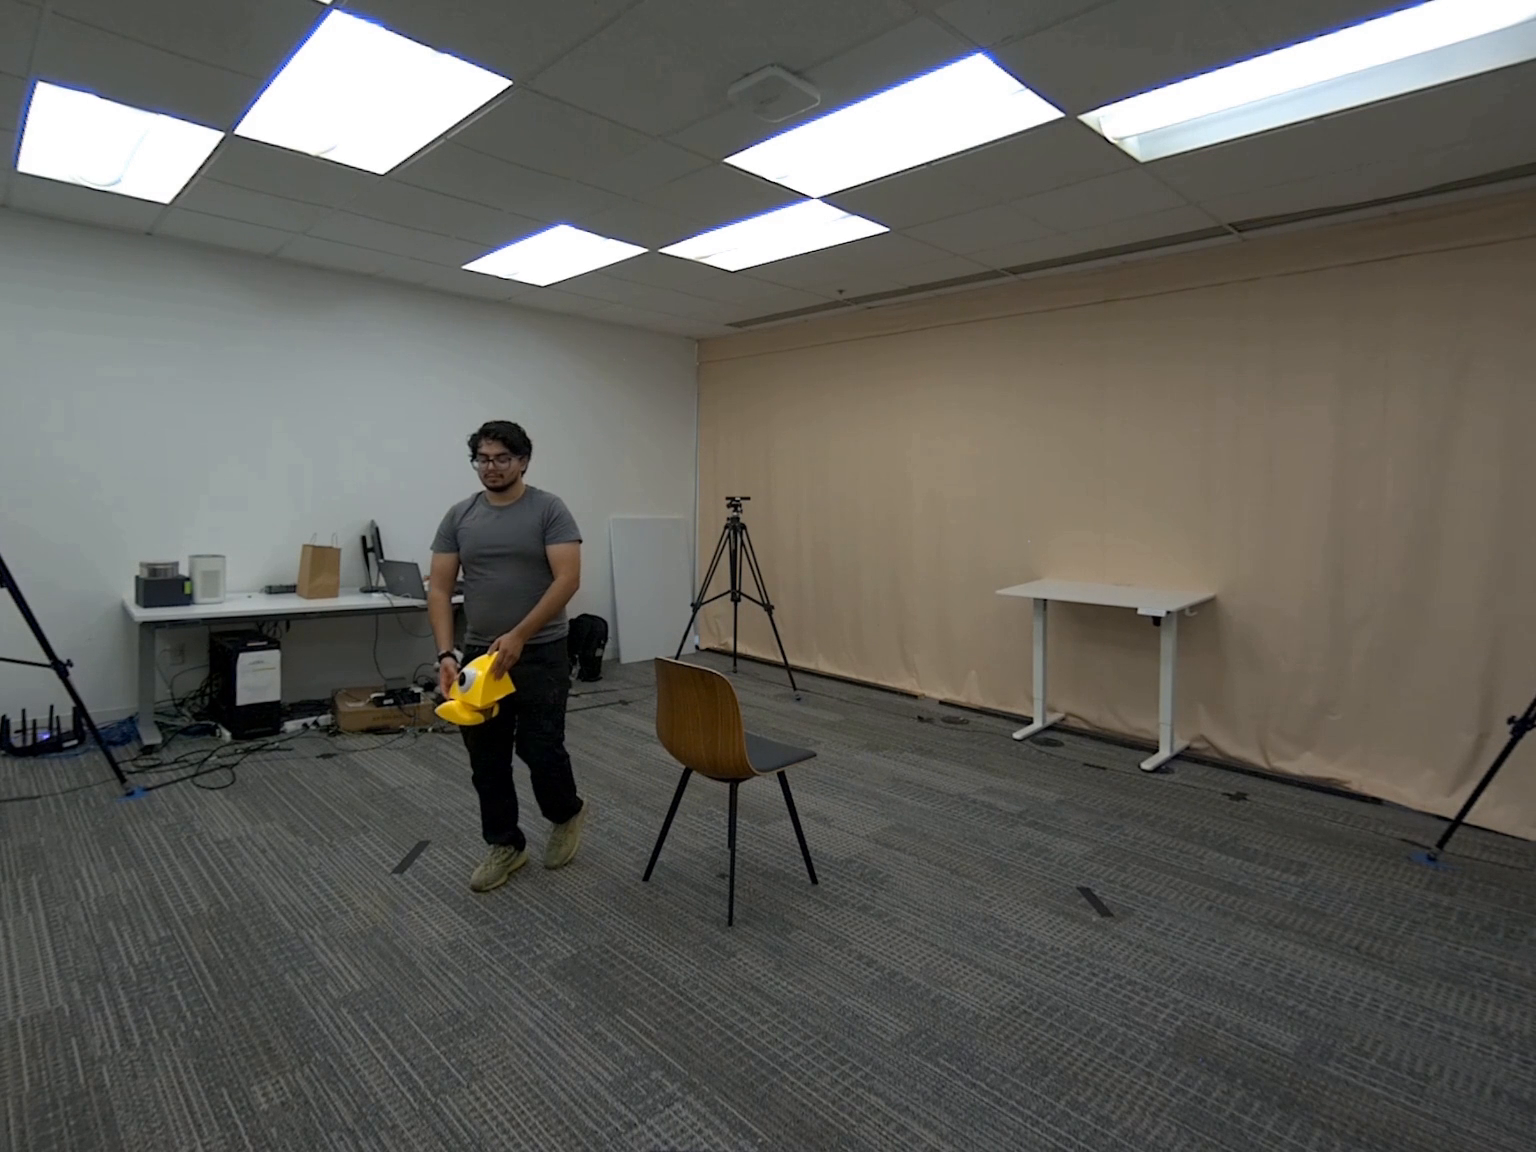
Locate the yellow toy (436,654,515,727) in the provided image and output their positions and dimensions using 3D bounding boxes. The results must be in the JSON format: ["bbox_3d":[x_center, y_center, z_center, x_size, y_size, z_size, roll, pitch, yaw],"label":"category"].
[{"bbox_3d":[-0.961,0.343,2.731,0.196,0.229,0.203,15,10,13],"label":"yellow toy"}]
